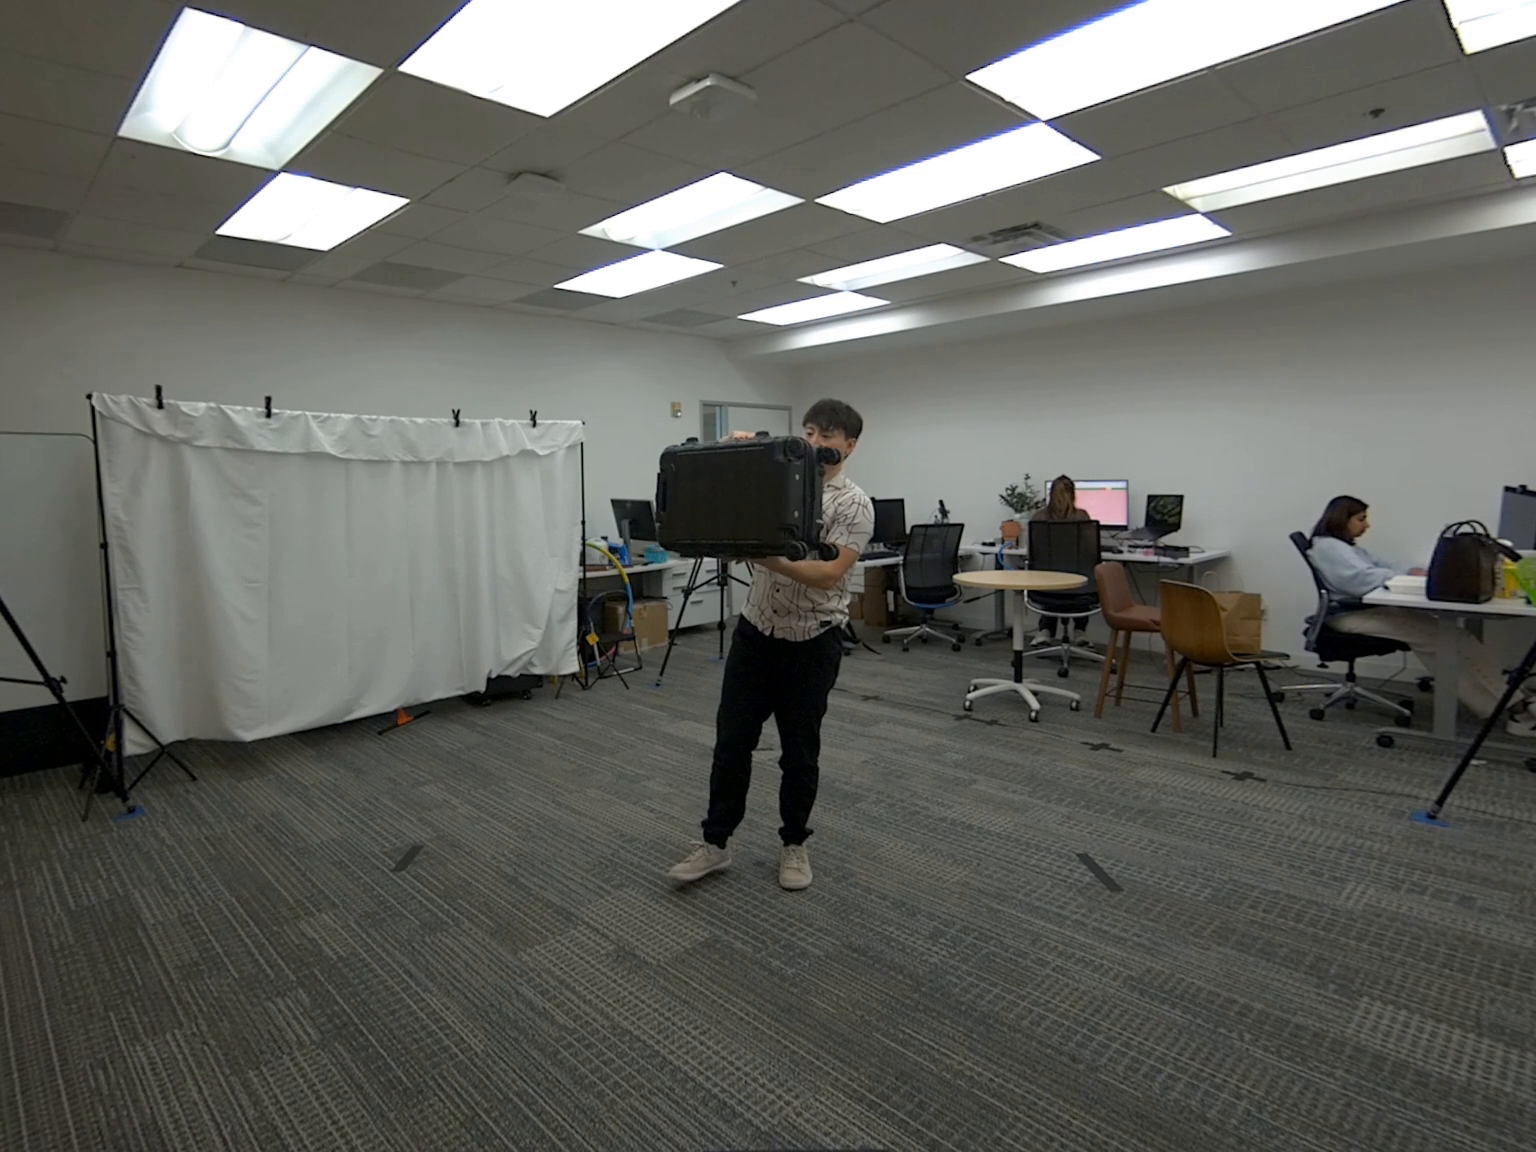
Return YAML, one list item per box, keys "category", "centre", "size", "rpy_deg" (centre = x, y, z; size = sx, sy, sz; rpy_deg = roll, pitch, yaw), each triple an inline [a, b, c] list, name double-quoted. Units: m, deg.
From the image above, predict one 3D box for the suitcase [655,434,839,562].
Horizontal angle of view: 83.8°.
- category: "suitcase"
  centre: [-0.080, -0.237, 2.641]
  size: [0.565, 0.376, 0.241]
  rpy_deg: [3, -2, 33]
